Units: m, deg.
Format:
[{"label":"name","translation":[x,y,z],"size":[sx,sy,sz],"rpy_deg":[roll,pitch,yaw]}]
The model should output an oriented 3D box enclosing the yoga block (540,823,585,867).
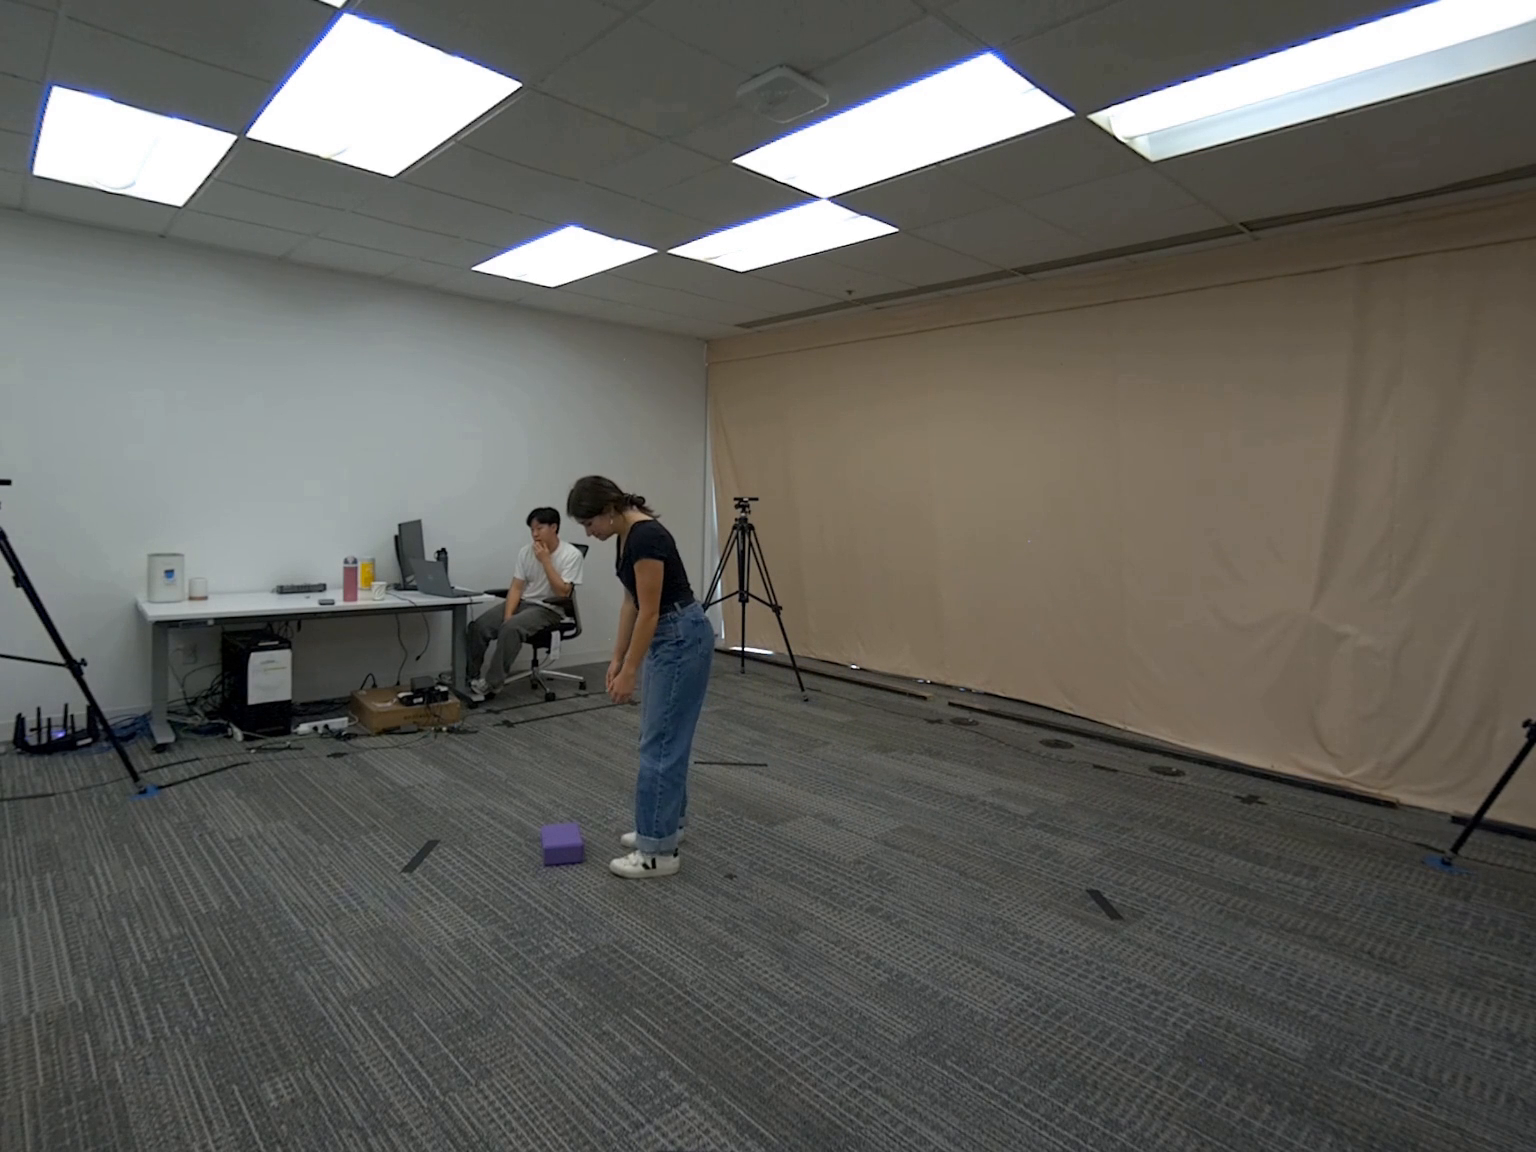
[{"label":"yoga block","translation":[-0.811,1.043,3.267],"size":[0.147,0.076,0.233],"rpy_deg":[-1,6,-17]}]
